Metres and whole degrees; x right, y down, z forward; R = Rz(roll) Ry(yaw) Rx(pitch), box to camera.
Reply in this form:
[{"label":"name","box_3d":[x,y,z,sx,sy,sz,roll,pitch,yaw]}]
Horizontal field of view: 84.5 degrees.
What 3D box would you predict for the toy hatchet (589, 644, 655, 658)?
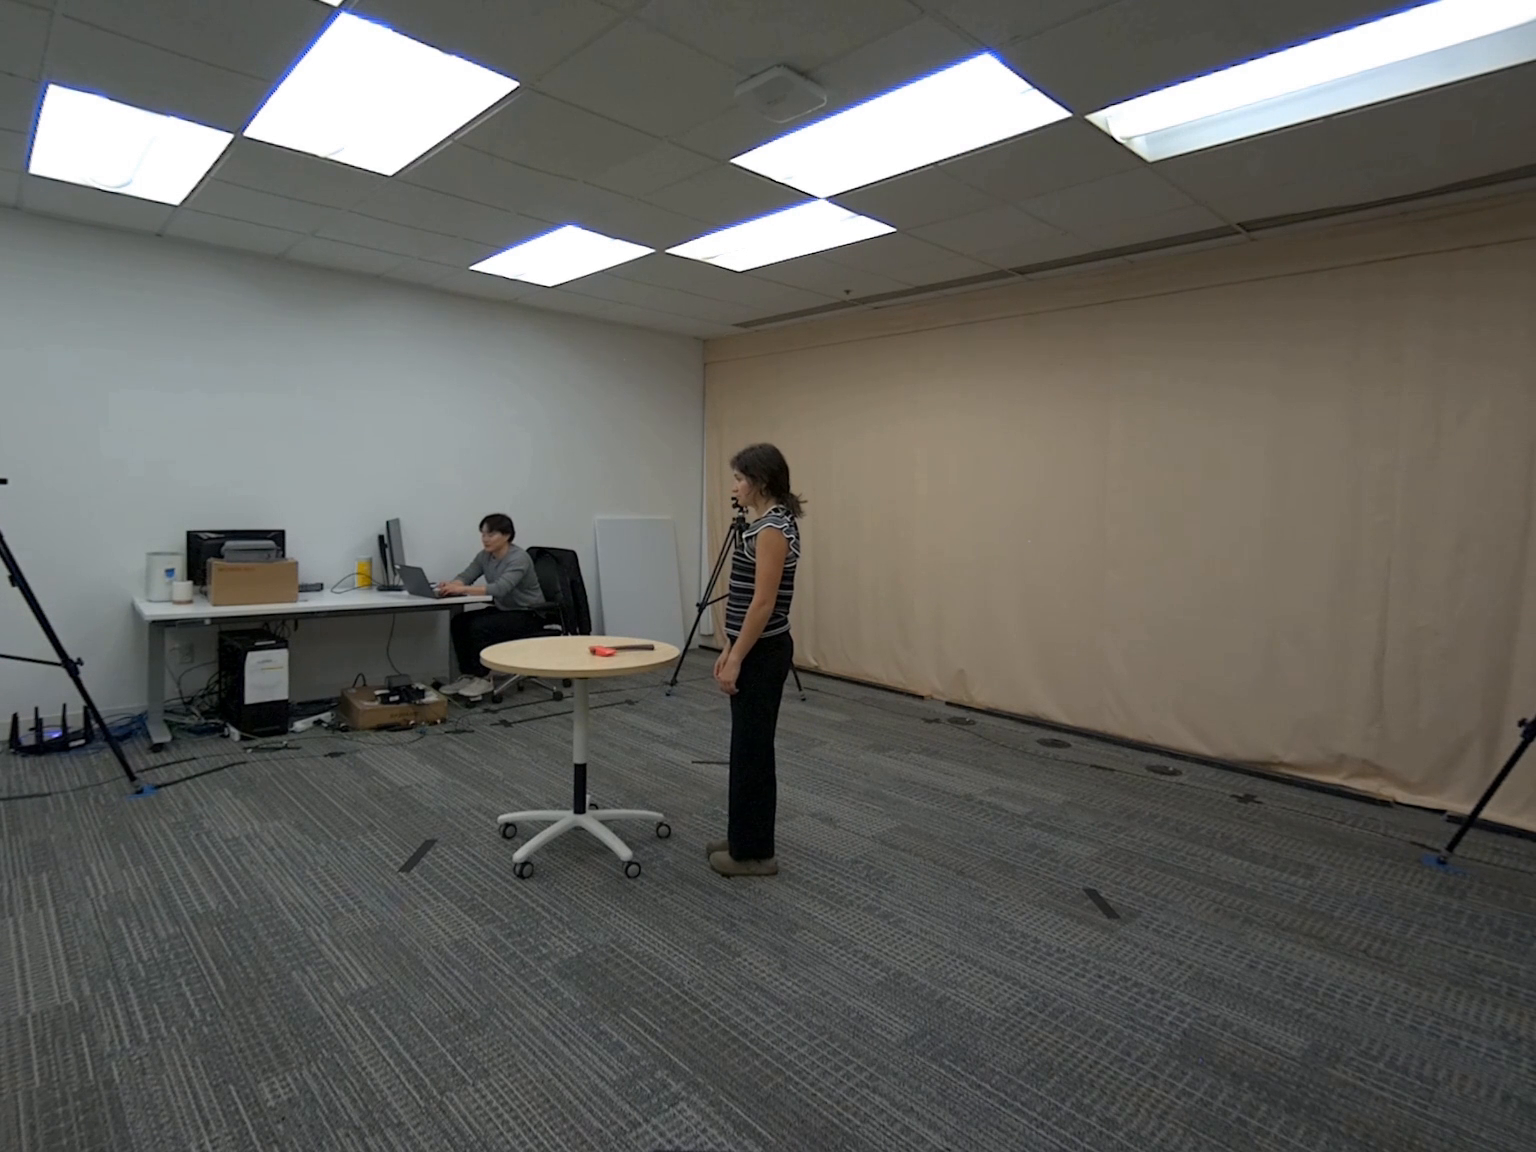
[{"label":"toy hatchet","box_3d":[-0.564,0.289,3.258,0.265,0.029,0.134,0,6,-23]}]
